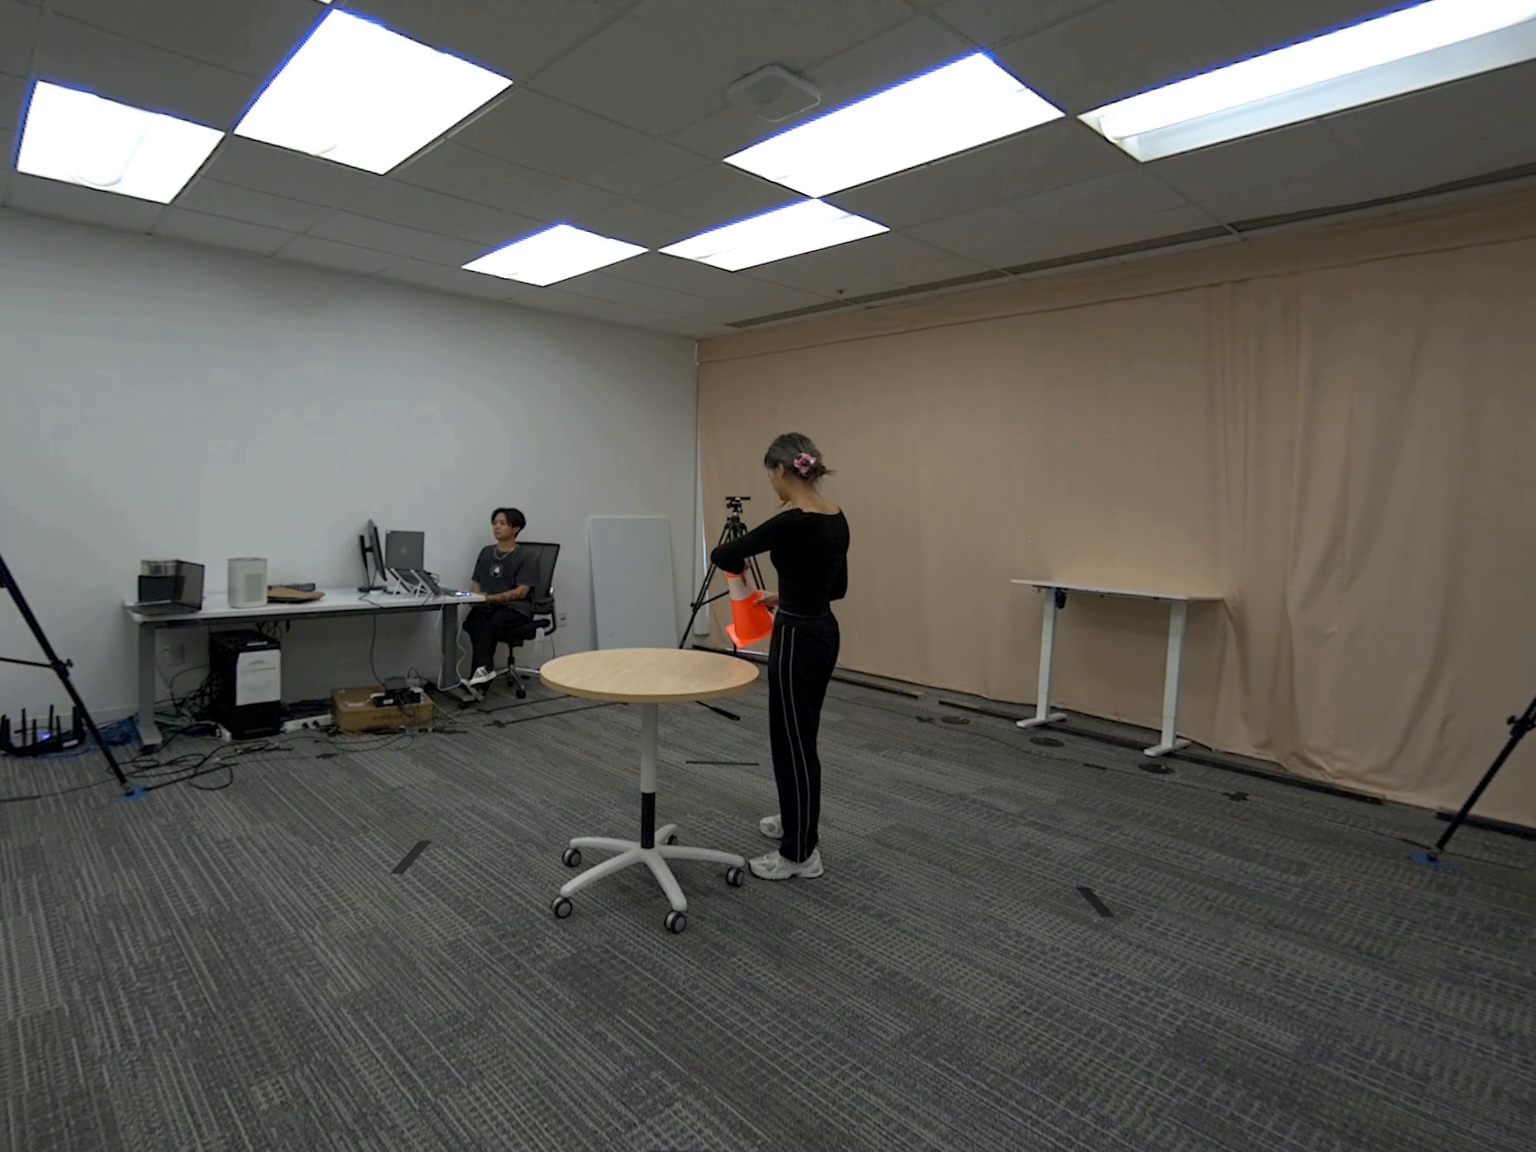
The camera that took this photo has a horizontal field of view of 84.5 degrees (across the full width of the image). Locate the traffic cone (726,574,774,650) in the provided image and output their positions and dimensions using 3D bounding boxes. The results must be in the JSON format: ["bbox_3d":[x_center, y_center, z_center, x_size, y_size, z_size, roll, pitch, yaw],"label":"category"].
[{"bbox_3d":[-0.115,0.058,3.297,0.202,0.375,0.210,-21,26,-12],"label":"traffic cone"}]
